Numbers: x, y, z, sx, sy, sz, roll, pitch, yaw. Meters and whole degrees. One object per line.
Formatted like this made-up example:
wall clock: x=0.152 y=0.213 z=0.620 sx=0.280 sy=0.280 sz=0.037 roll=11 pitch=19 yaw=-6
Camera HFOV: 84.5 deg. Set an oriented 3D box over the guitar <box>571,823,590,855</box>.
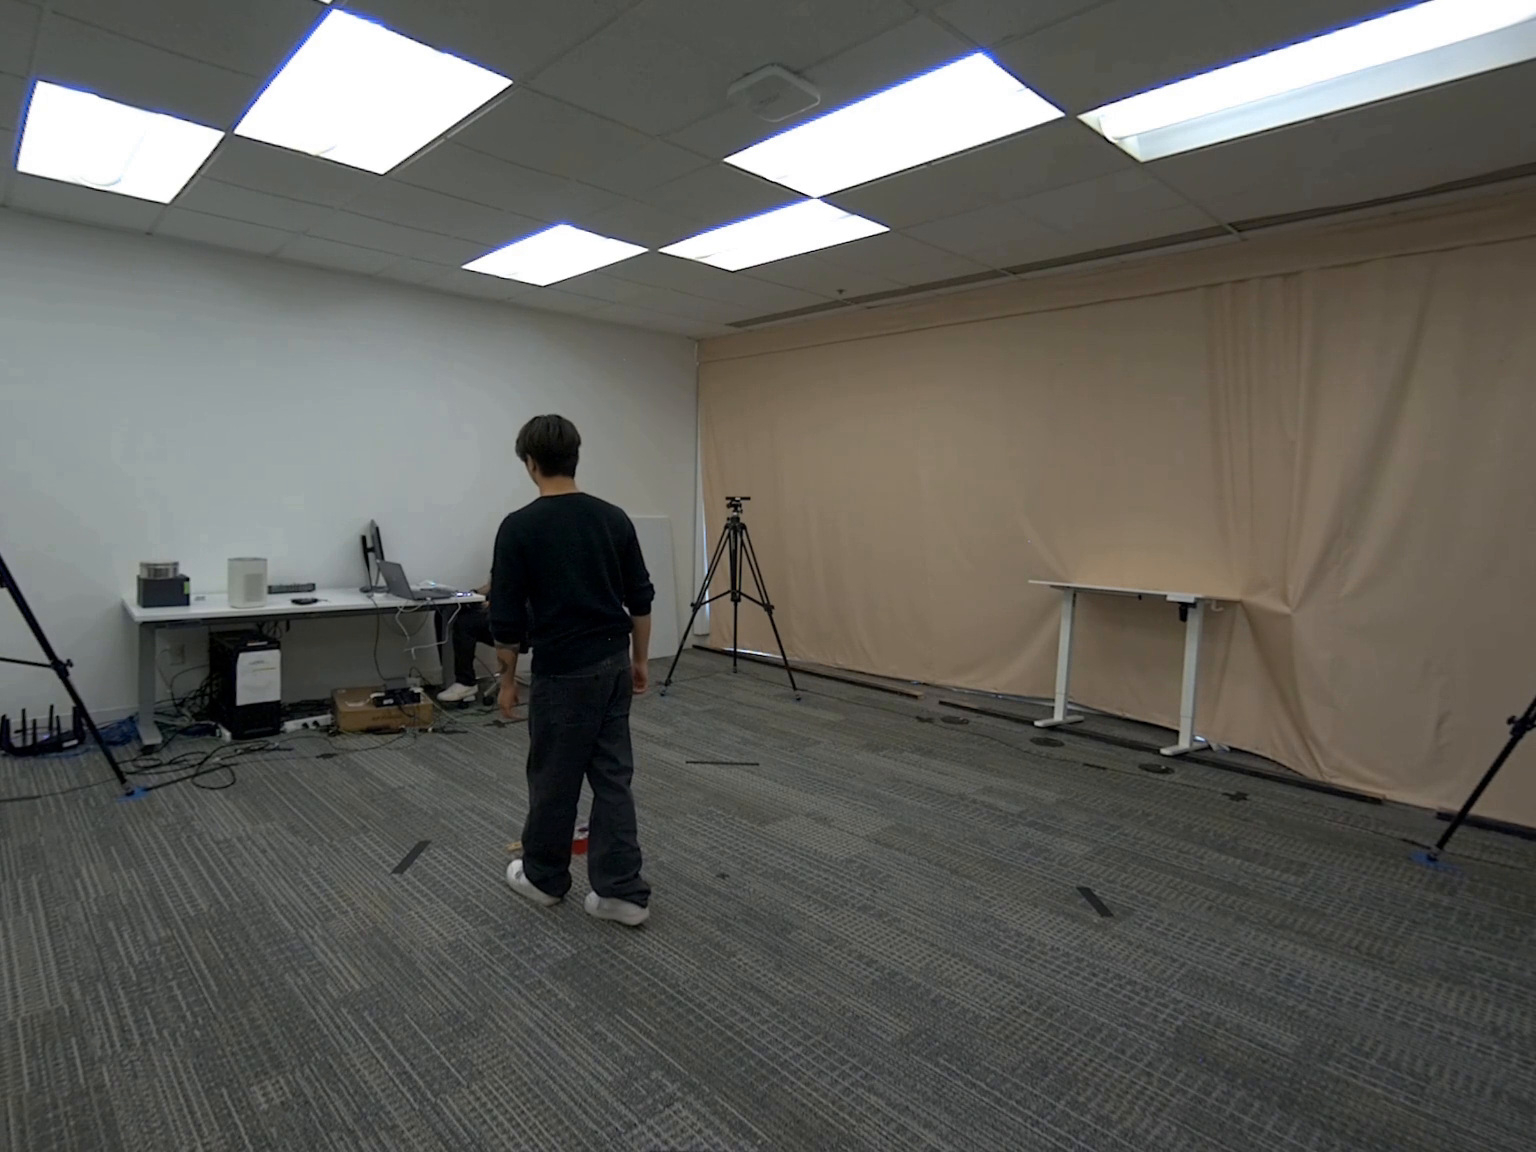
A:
guitar: x=-0.814 y=1.045 z=3.330 sx=0.488 sy=0.070 sz=0.197 roll=-1 pitch=6 yaw=-29
